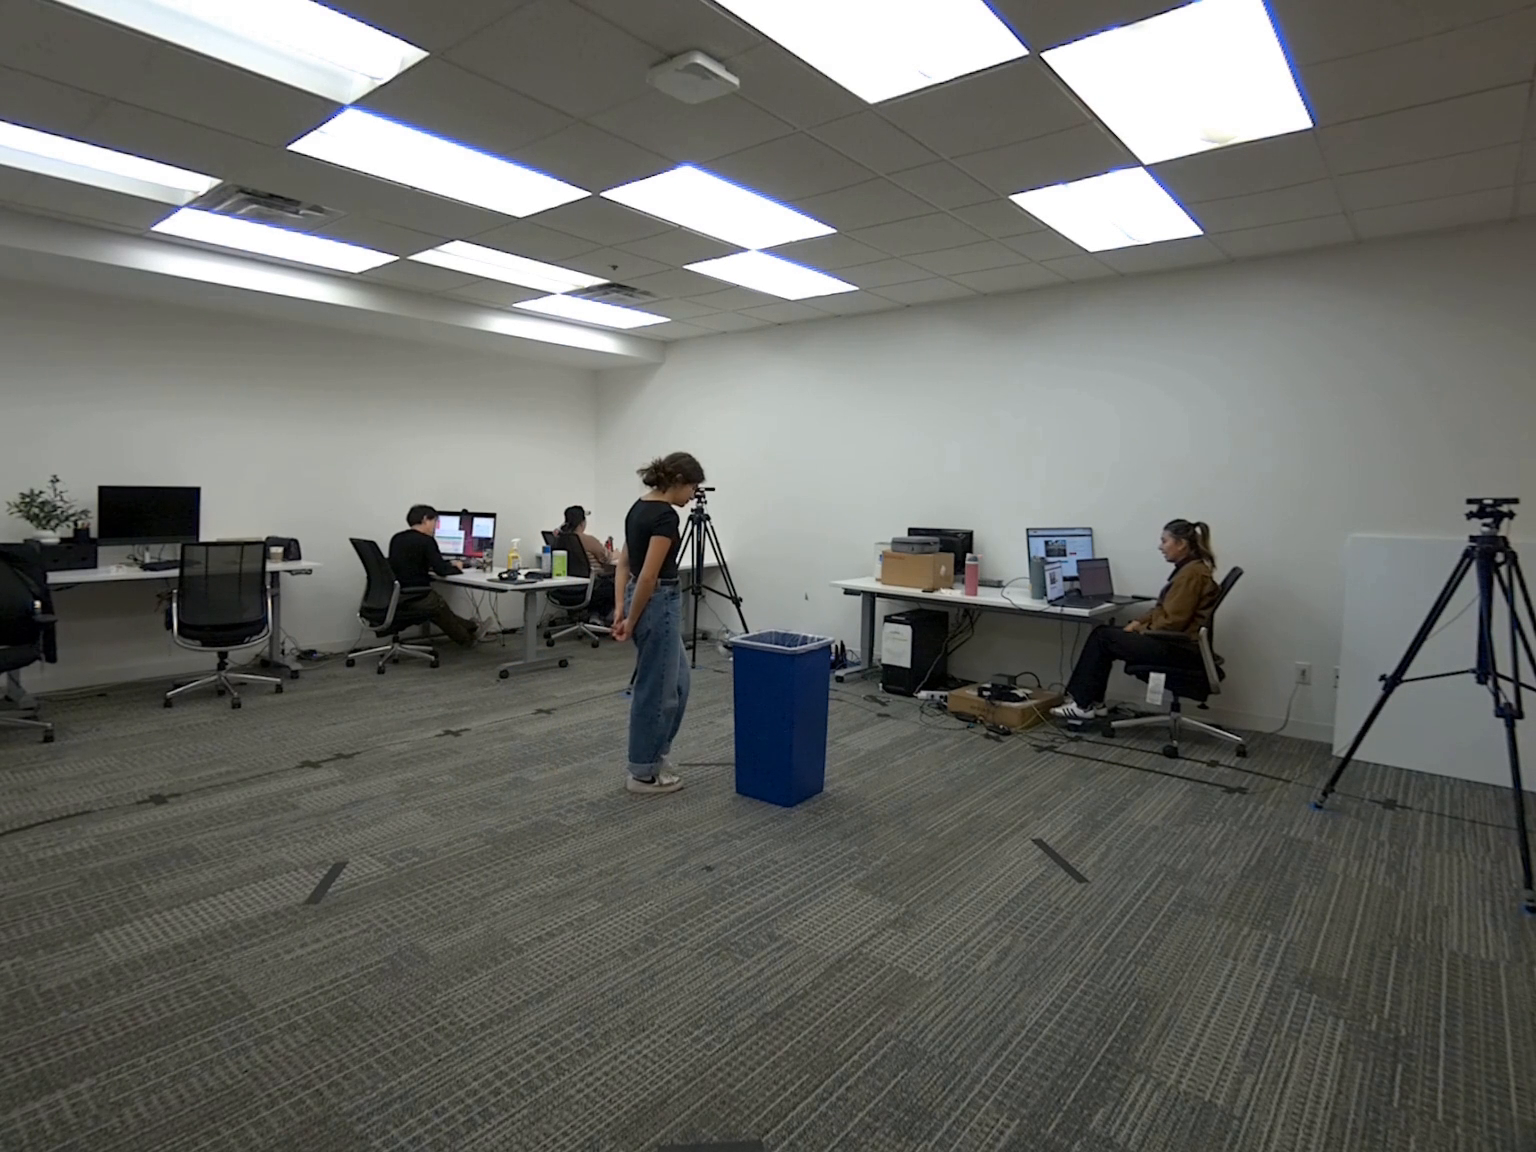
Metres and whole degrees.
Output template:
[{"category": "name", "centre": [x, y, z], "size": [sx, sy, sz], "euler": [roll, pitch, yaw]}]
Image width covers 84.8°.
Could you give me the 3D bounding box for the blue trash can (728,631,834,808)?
[{"category": "blue trash can", "centre": [0.061, 0.636, 3.905], "size": [0.386, 0.711, 0.367], "euler": [3, 4, 36]}]
